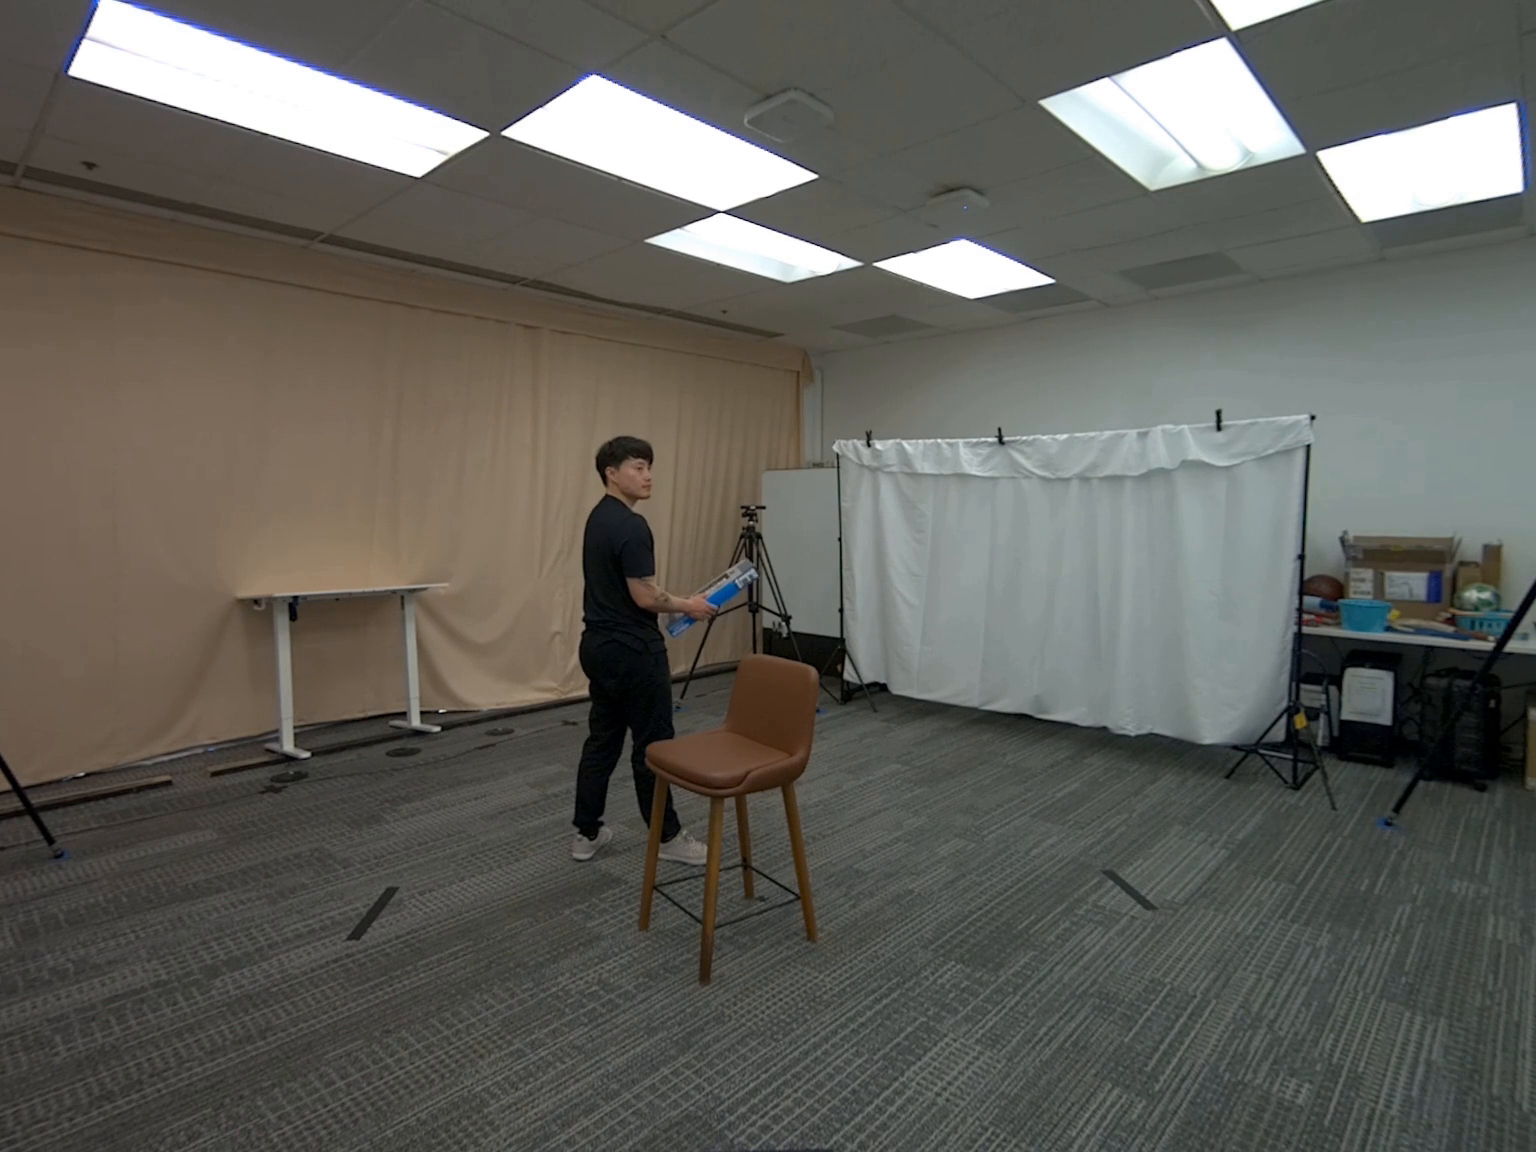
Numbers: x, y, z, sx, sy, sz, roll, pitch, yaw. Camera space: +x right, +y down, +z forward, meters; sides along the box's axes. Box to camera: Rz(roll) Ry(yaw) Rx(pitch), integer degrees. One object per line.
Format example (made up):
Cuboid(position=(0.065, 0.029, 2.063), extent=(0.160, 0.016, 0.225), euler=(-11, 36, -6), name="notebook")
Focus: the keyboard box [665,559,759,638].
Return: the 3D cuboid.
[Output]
Cuboid(position=(-0.232, 0.088, 3.473), extent=(0.436, 0.058, 0.179), euler=(-35, 18, -2), name="keyboard box")
